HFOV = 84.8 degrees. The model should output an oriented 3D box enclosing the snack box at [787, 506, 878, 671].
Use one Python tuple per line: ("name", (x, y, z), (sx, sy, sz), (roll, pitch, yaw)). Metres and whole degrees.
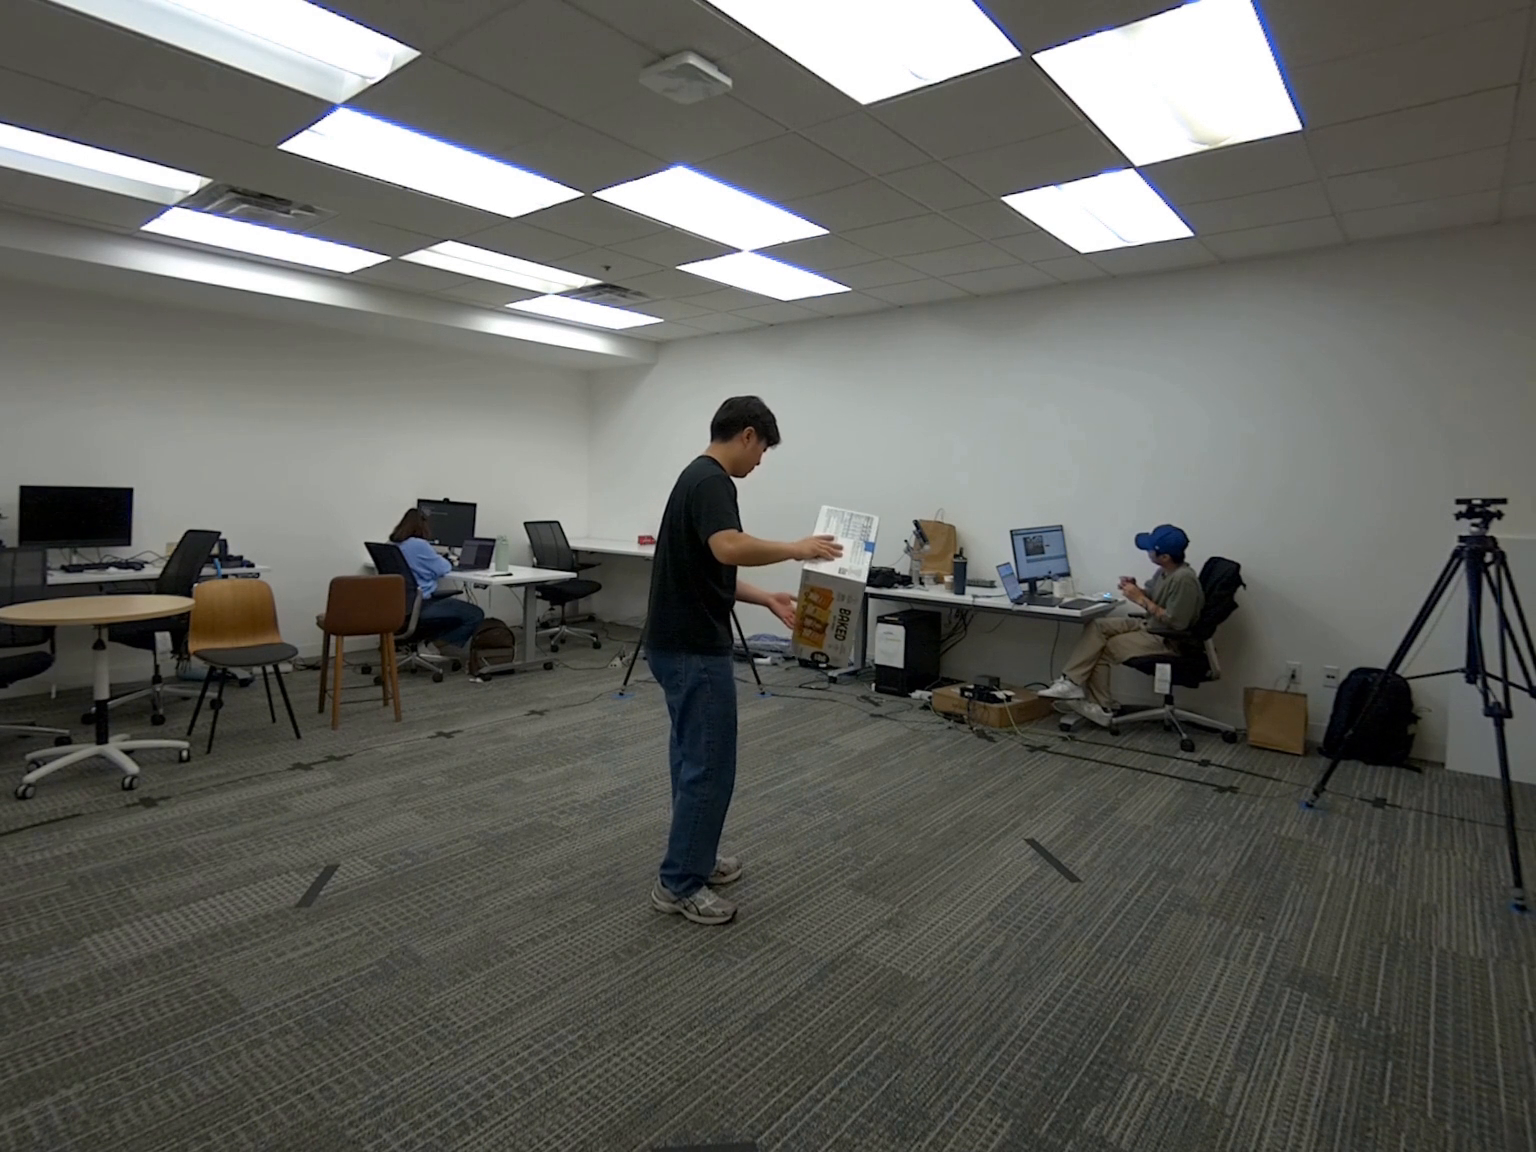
("snack box", (0.217, 0.039, 2.858), (0.208, 0.394, 0.346), (11, 42, 7))
